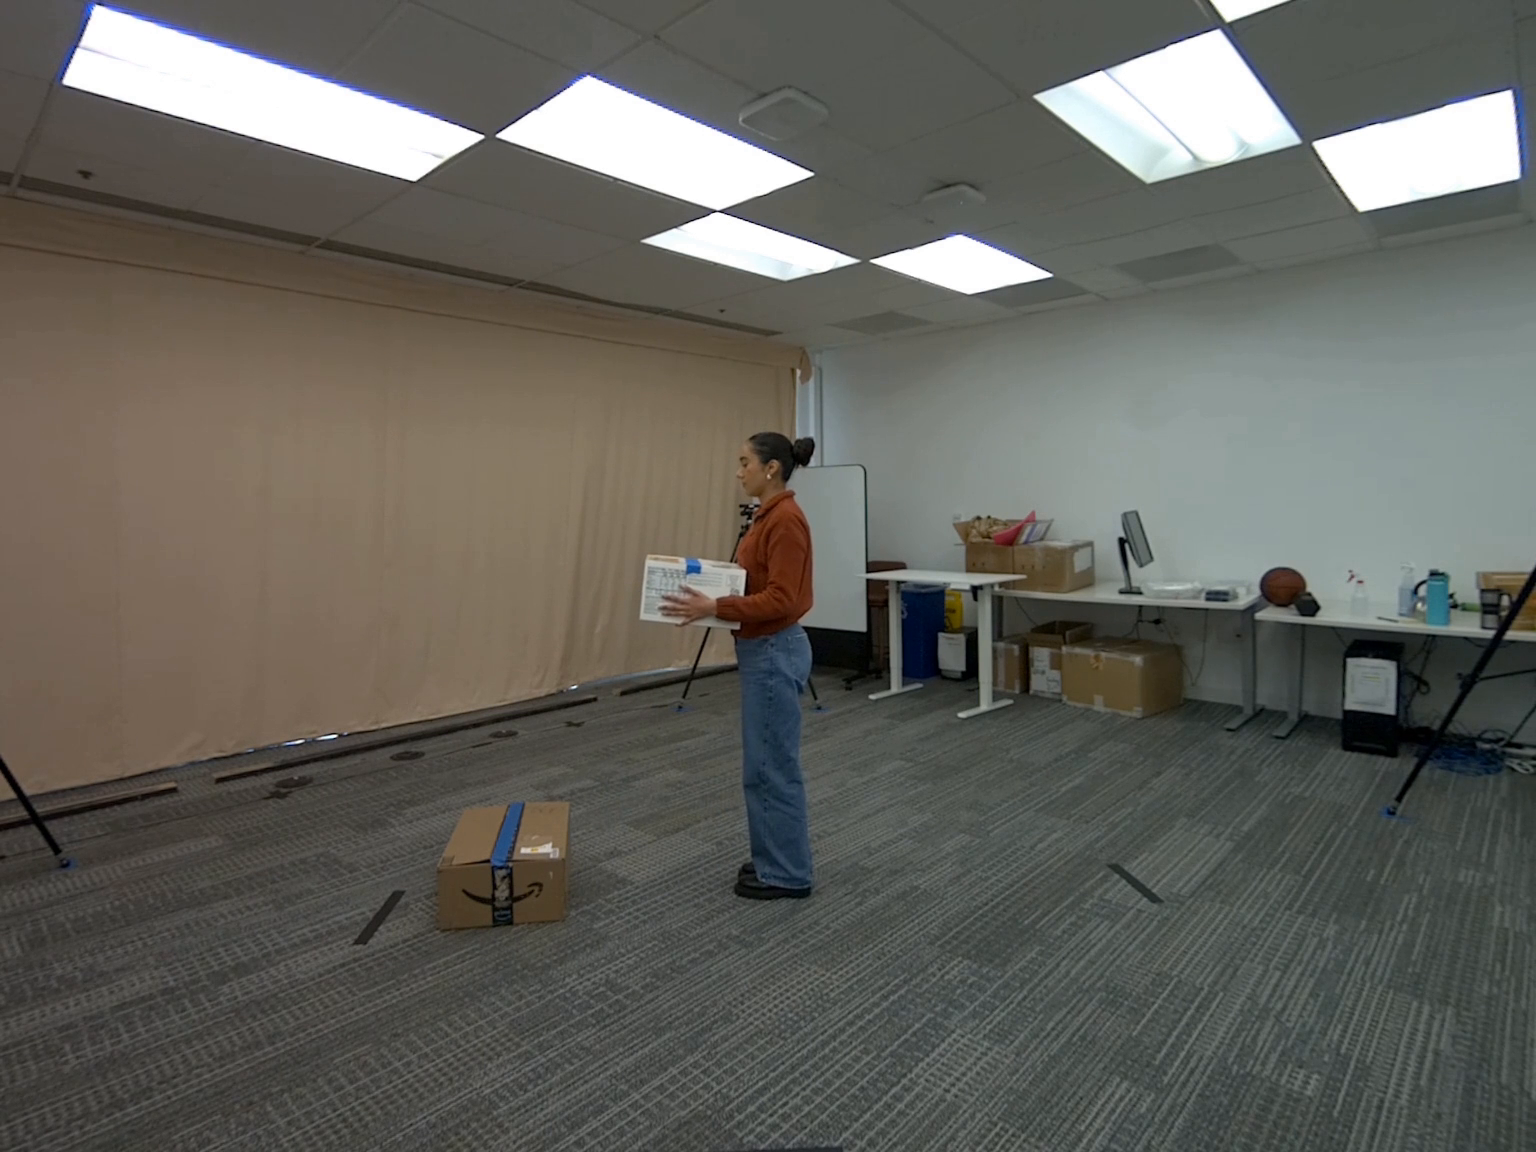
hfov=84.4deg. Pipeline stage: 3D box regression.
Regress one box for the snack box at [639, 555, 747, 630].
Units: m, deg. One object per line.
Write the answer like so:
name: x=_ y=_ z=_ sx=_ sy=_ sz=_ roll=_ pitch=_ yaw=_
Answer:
snack box: x=-0.270 y=0.052 z=3.006 sx=0.339 sy=0.205 sz=0.408 roll=6 pitch=3 yaw=-5
